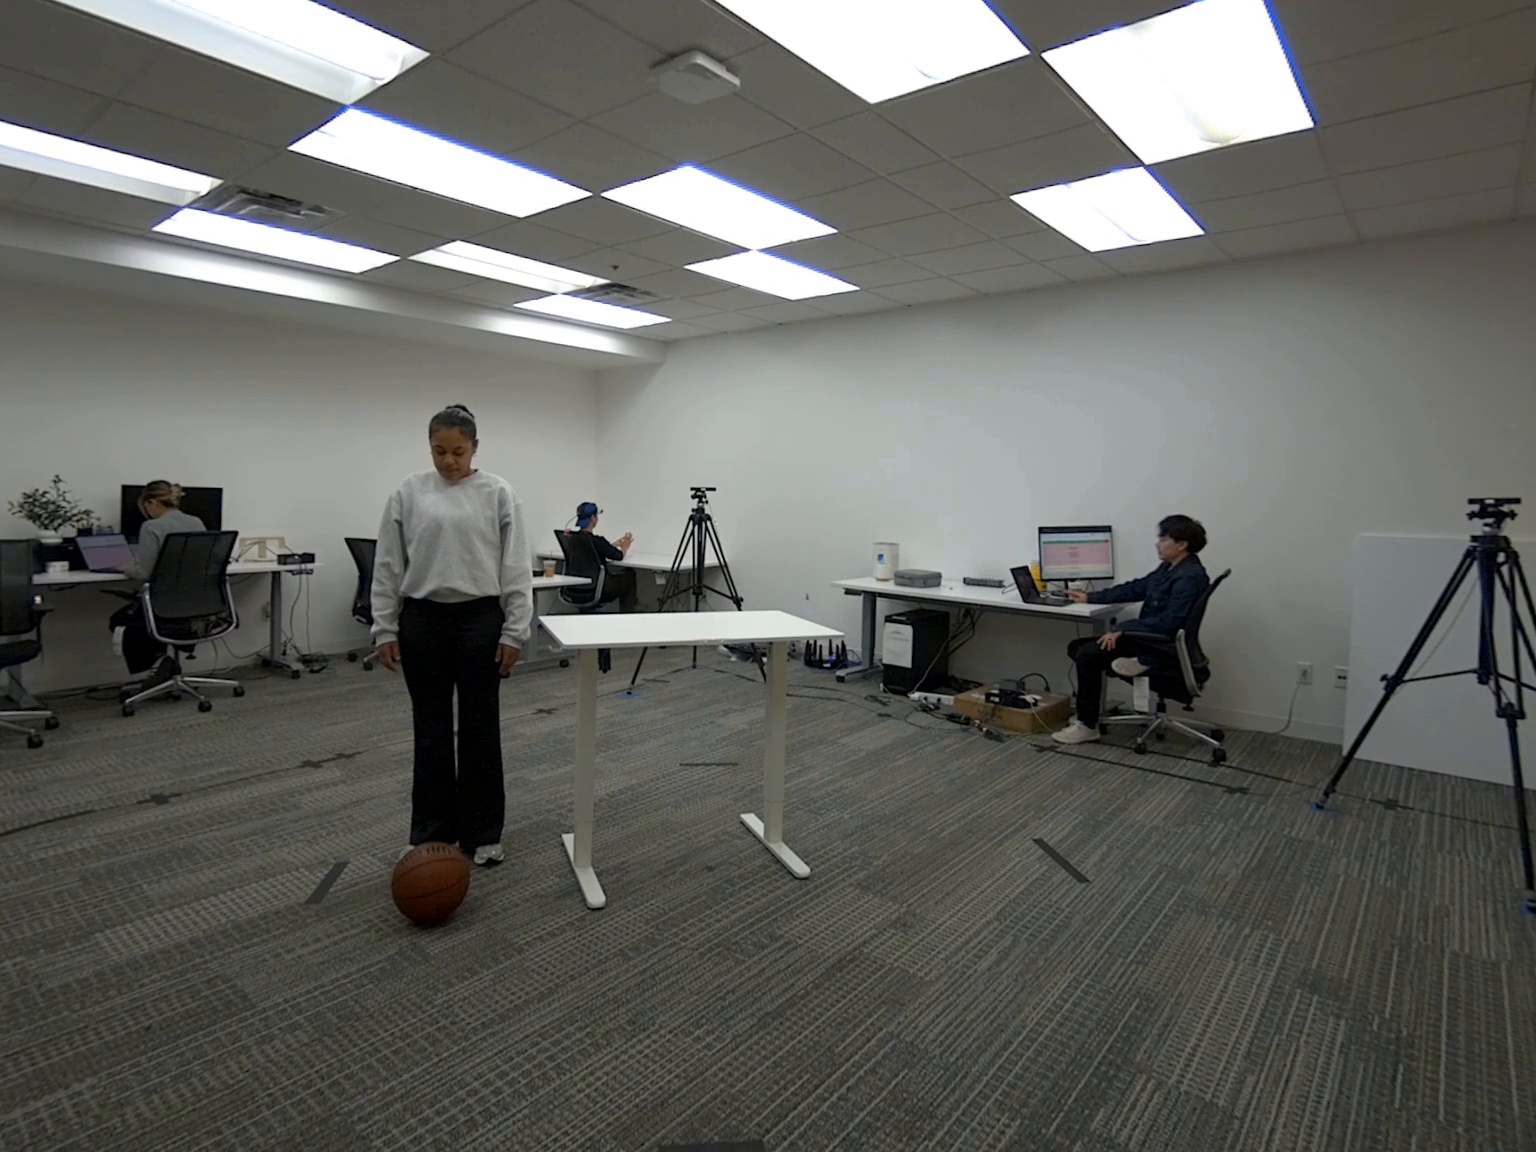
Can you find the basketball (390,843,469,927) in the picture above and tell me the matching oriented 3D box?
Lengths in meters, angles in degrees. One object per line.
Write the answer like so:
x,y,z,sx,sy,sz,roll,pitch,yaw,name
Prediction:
-1.086,0.970,2.712,0.235,0.235,0.237,1,4,-2,basketball
